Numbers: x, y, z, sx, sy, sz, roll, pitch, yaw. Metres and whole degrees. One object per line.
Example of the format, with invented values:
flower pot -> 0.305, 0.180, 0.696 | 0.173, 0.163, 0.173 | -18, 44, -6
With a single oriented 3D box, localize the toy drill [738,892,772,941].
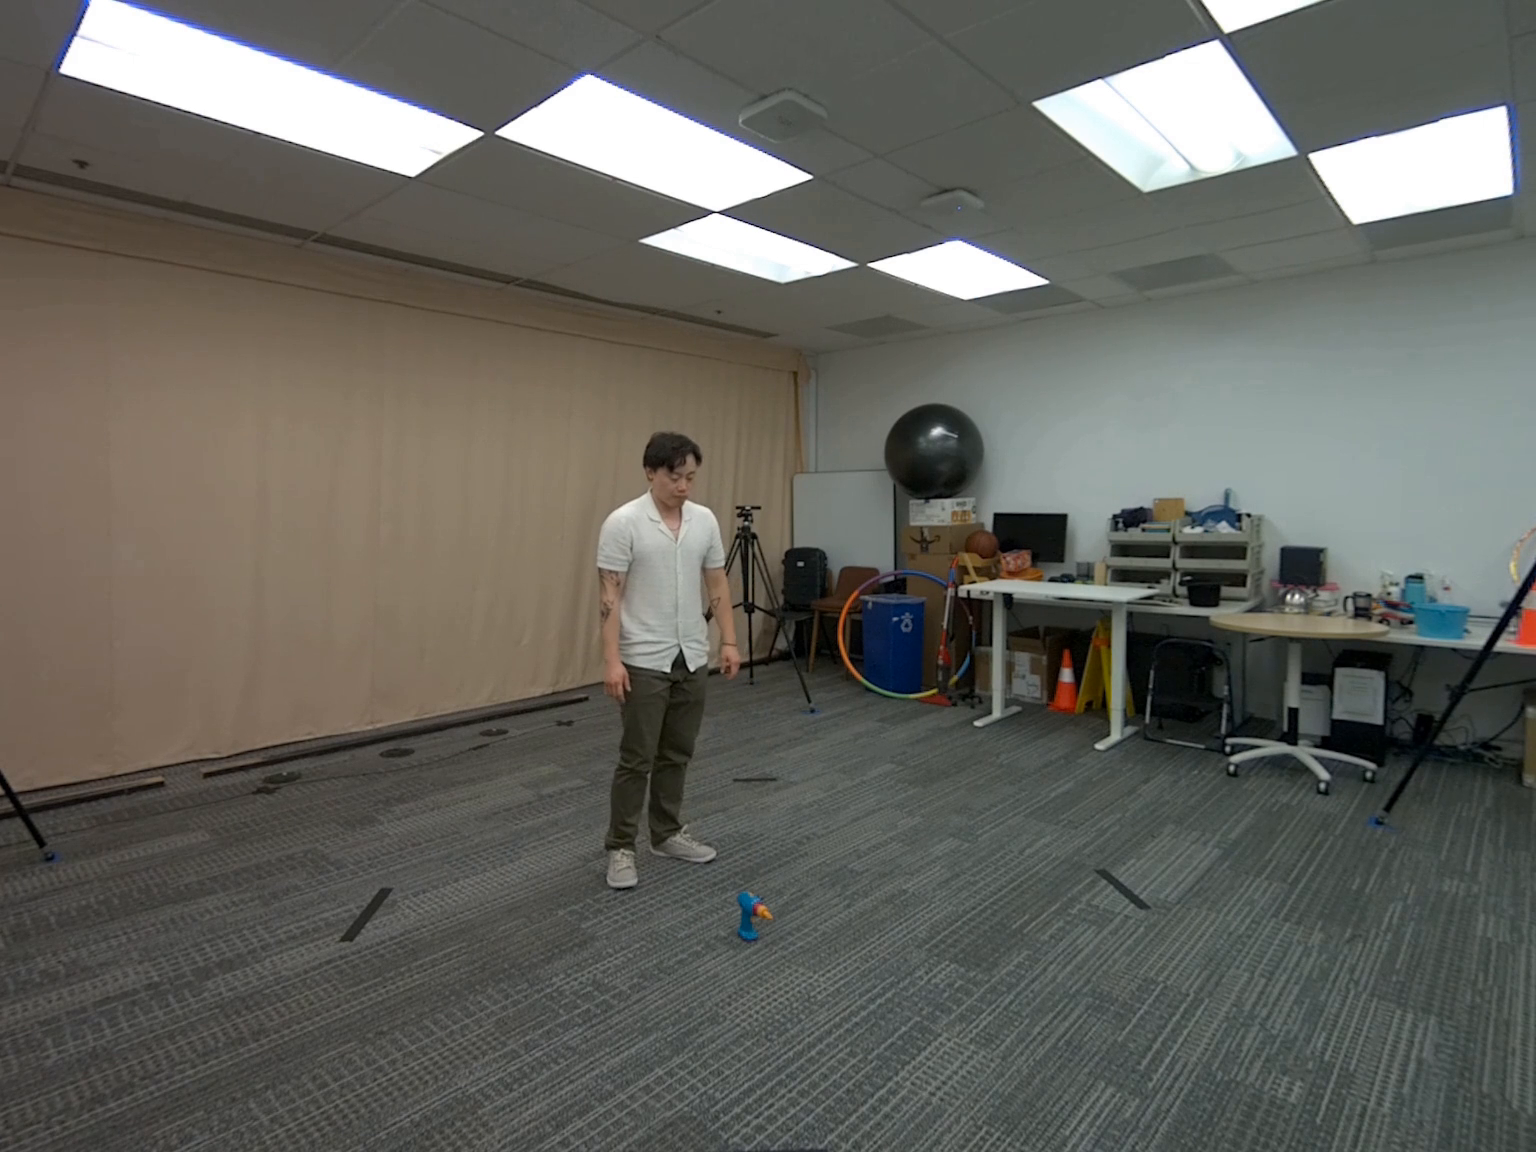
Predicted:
toy drill -> -0.037, 1.097, 2.685 | 0.059, 0.146, 0.175 | -2, 5, -38
